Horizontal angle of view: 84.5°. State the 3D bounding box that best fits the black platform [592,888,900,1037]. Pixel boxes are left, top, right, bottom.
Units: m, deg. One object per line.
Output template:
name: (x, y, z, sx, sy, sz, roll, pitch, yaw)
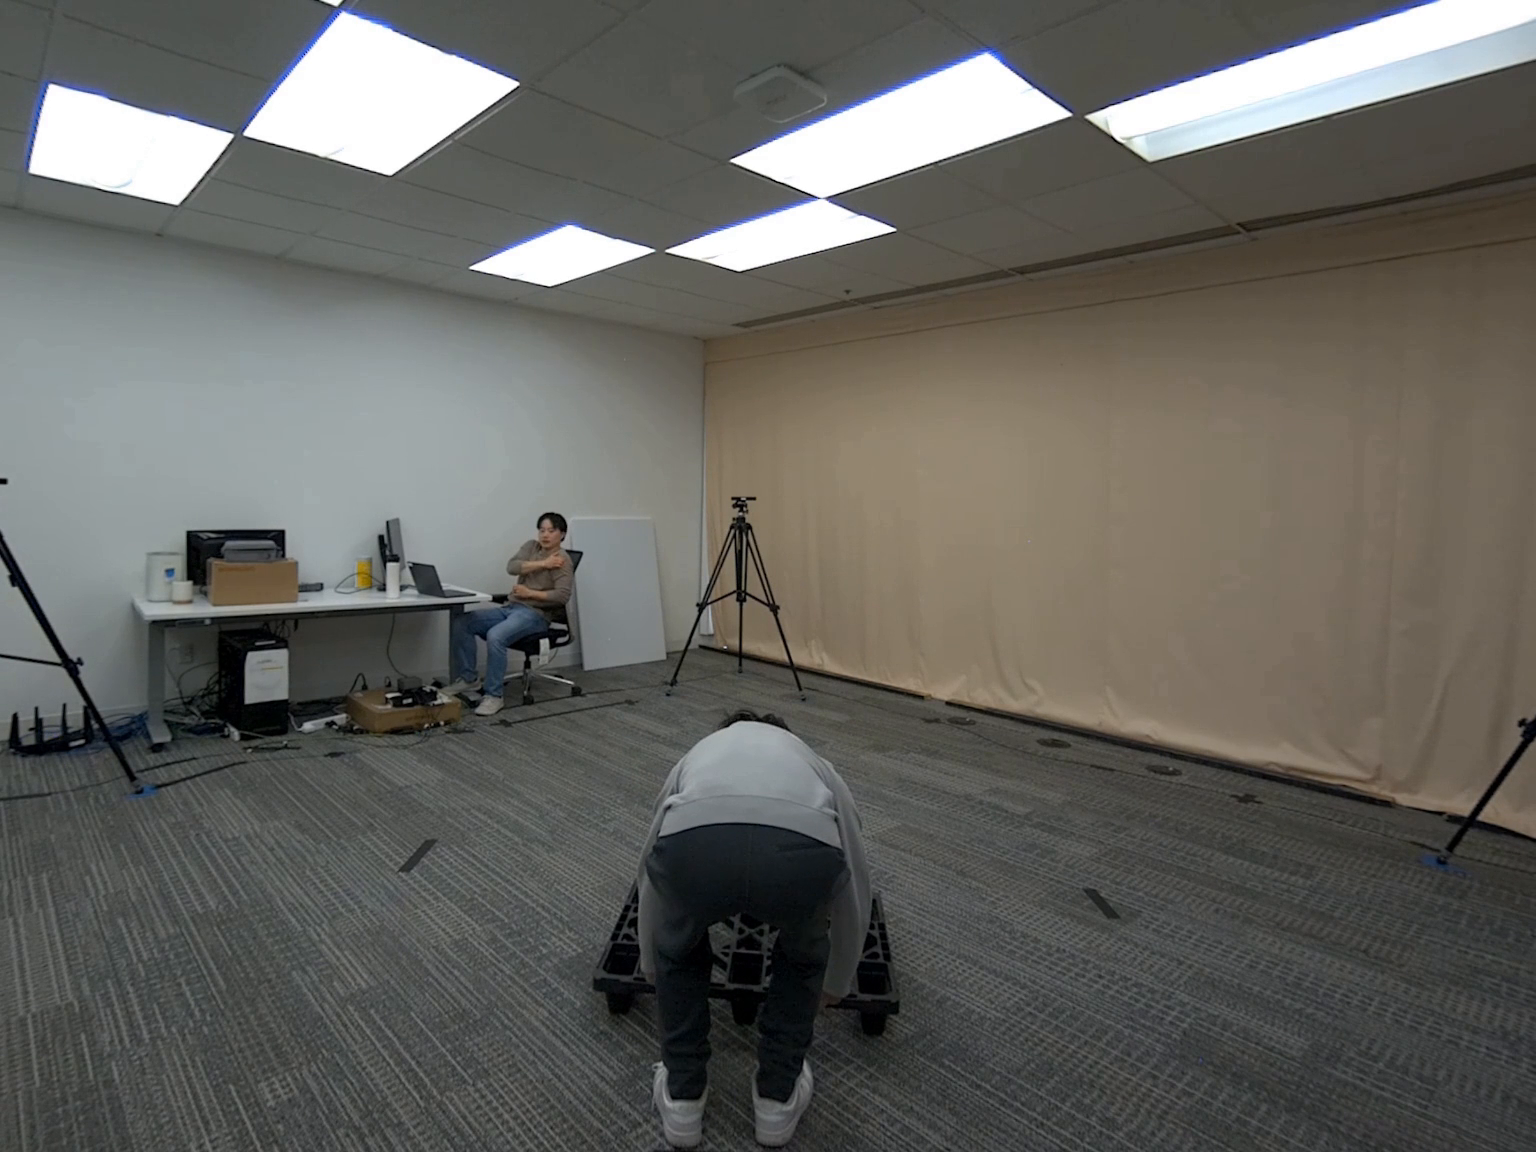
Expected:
black platform: (-0.060, 1.099, 2.461, 0.809, 0.143, 0.604, 2, 5, 4)
